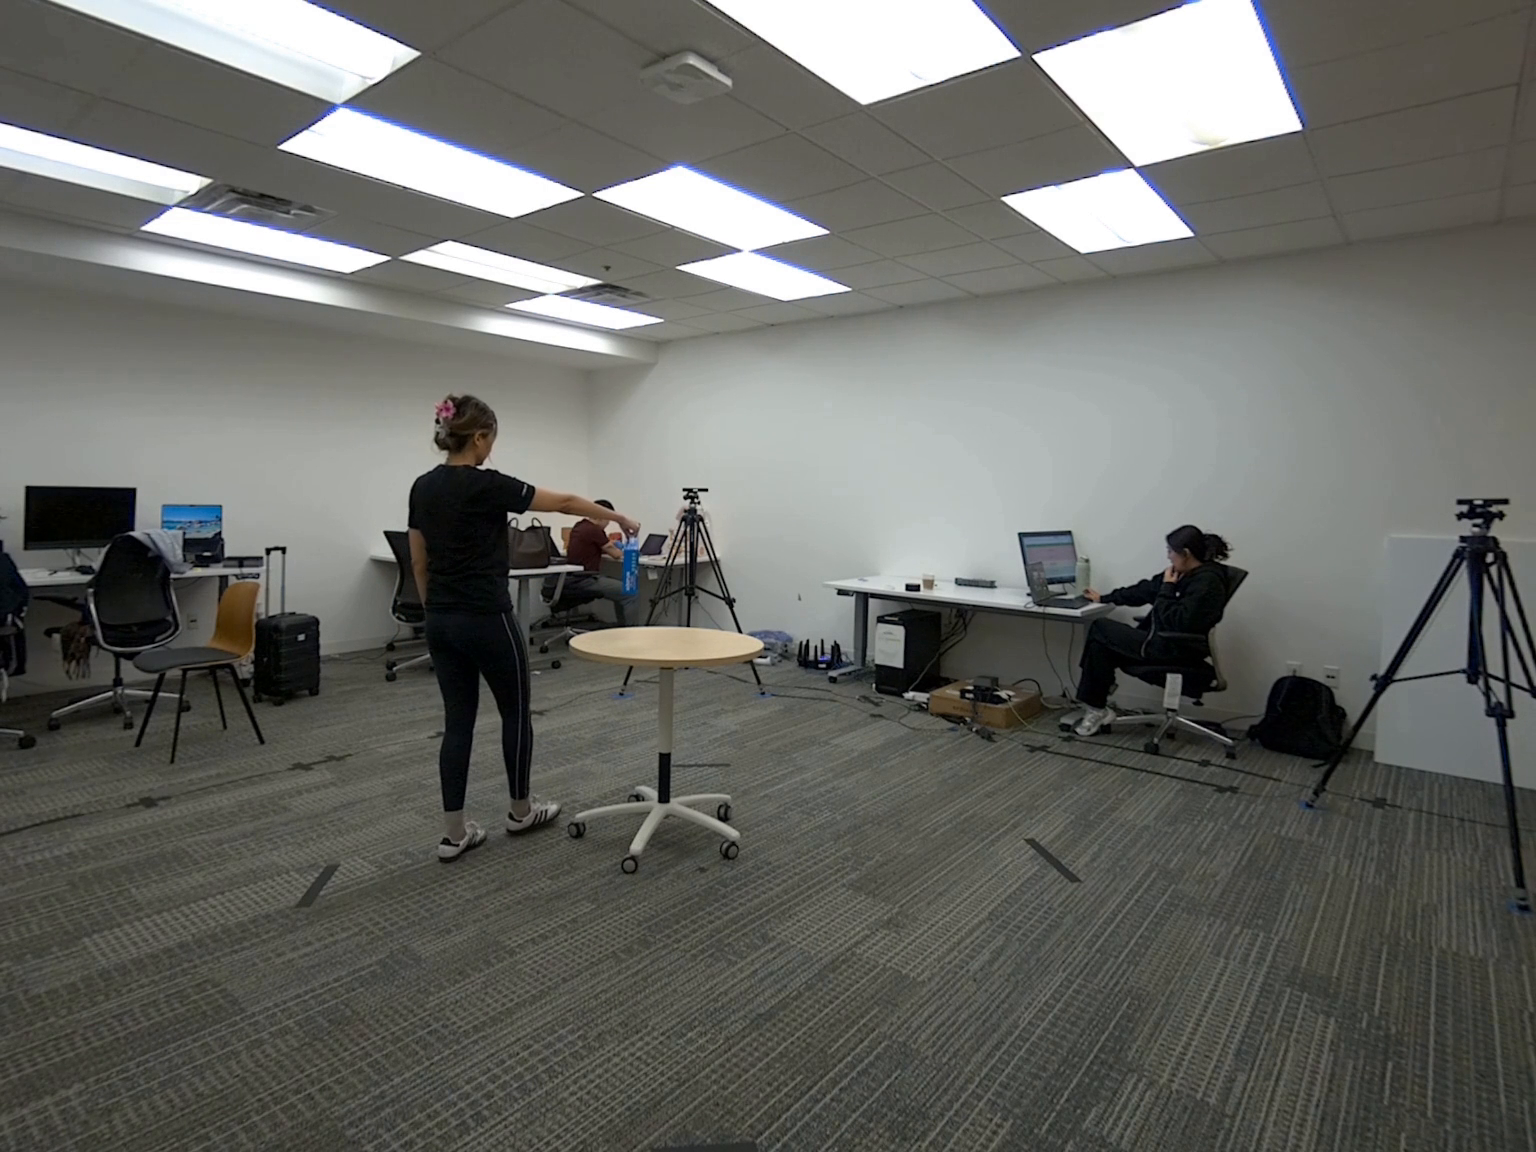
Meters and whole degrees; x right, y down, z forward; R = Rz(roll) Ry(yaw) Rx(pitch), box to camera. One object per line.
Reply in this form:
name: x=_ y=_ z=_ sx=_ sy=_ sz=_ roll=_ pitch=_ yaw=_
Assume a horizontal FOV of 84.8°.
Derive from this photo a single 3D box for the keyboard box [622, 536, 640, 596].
keyboard box: x=-0.569 y=-0.047 z=3.472 sx=0.058 sy=0.175 sz=0.443 roll=0 pitch=7 yaw=-11
